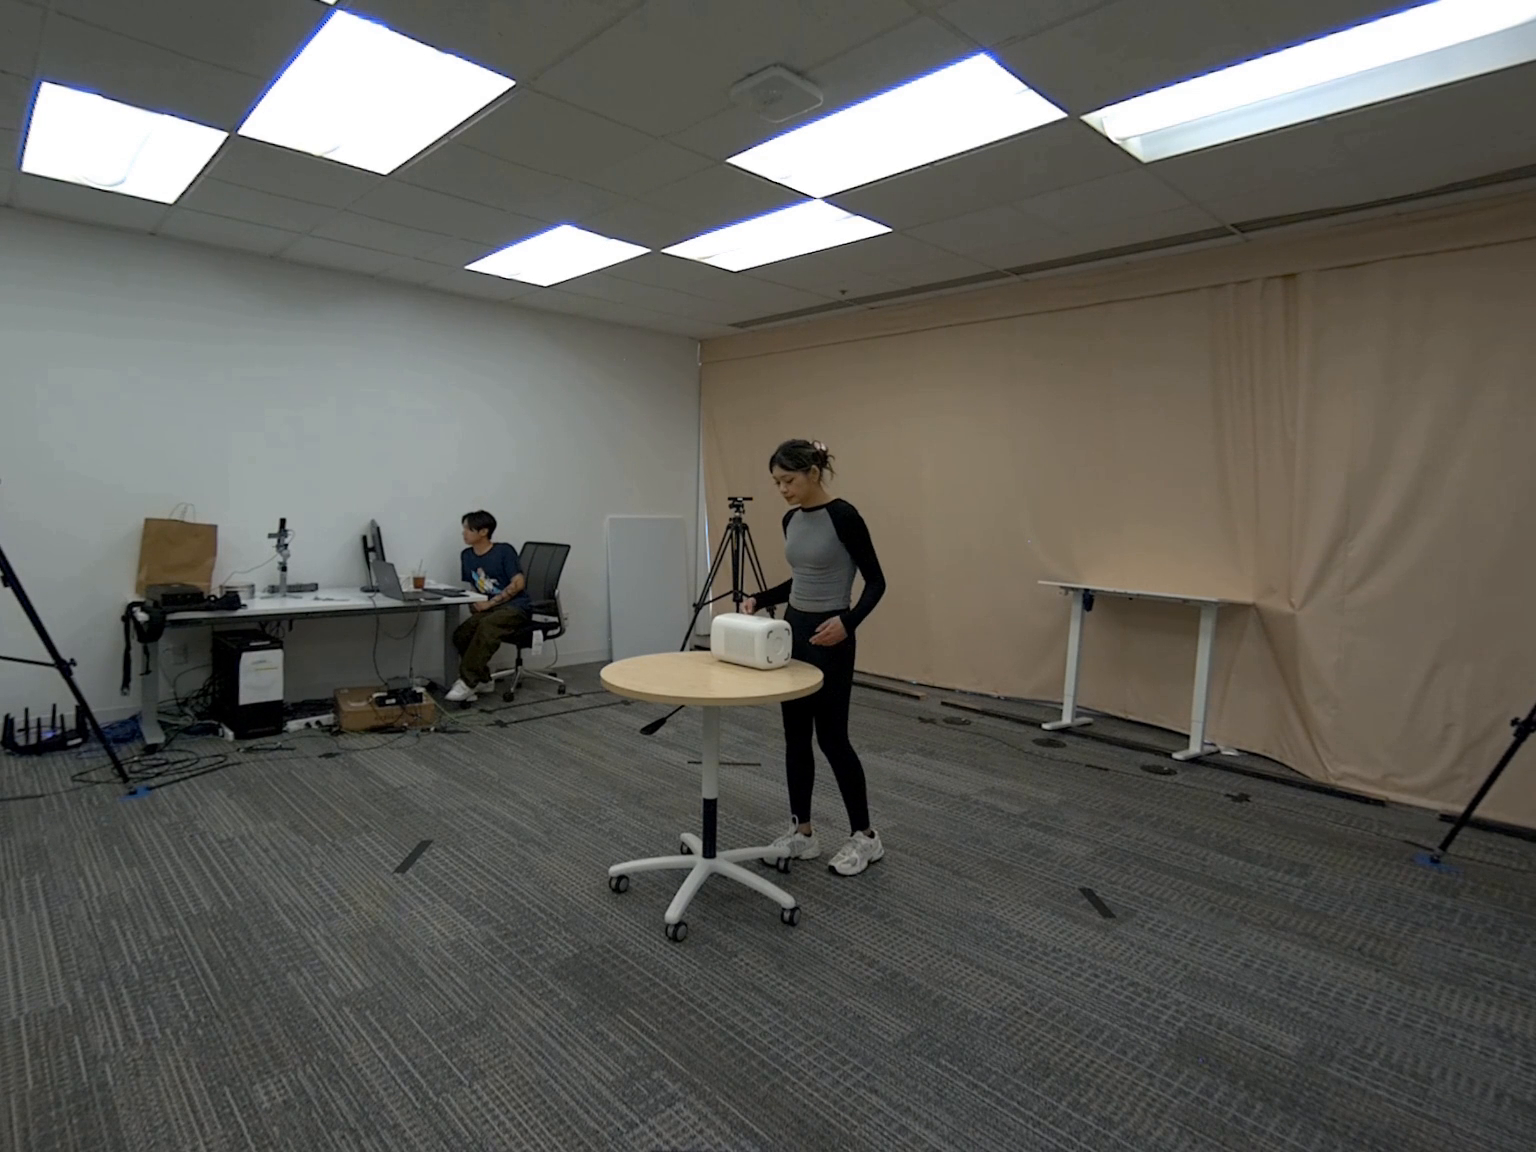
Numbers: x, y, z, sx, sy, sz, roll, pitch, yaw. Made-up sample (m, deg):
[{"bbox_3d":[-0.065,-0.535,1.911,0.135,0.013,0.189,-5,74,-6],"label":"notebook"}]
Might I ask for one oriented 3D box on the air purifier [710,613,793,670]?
[{"bbox_3d":[-0.063,0.234,3.032,0.272,0.171,0.167,6,6,45],"label":"air purifier"}]
